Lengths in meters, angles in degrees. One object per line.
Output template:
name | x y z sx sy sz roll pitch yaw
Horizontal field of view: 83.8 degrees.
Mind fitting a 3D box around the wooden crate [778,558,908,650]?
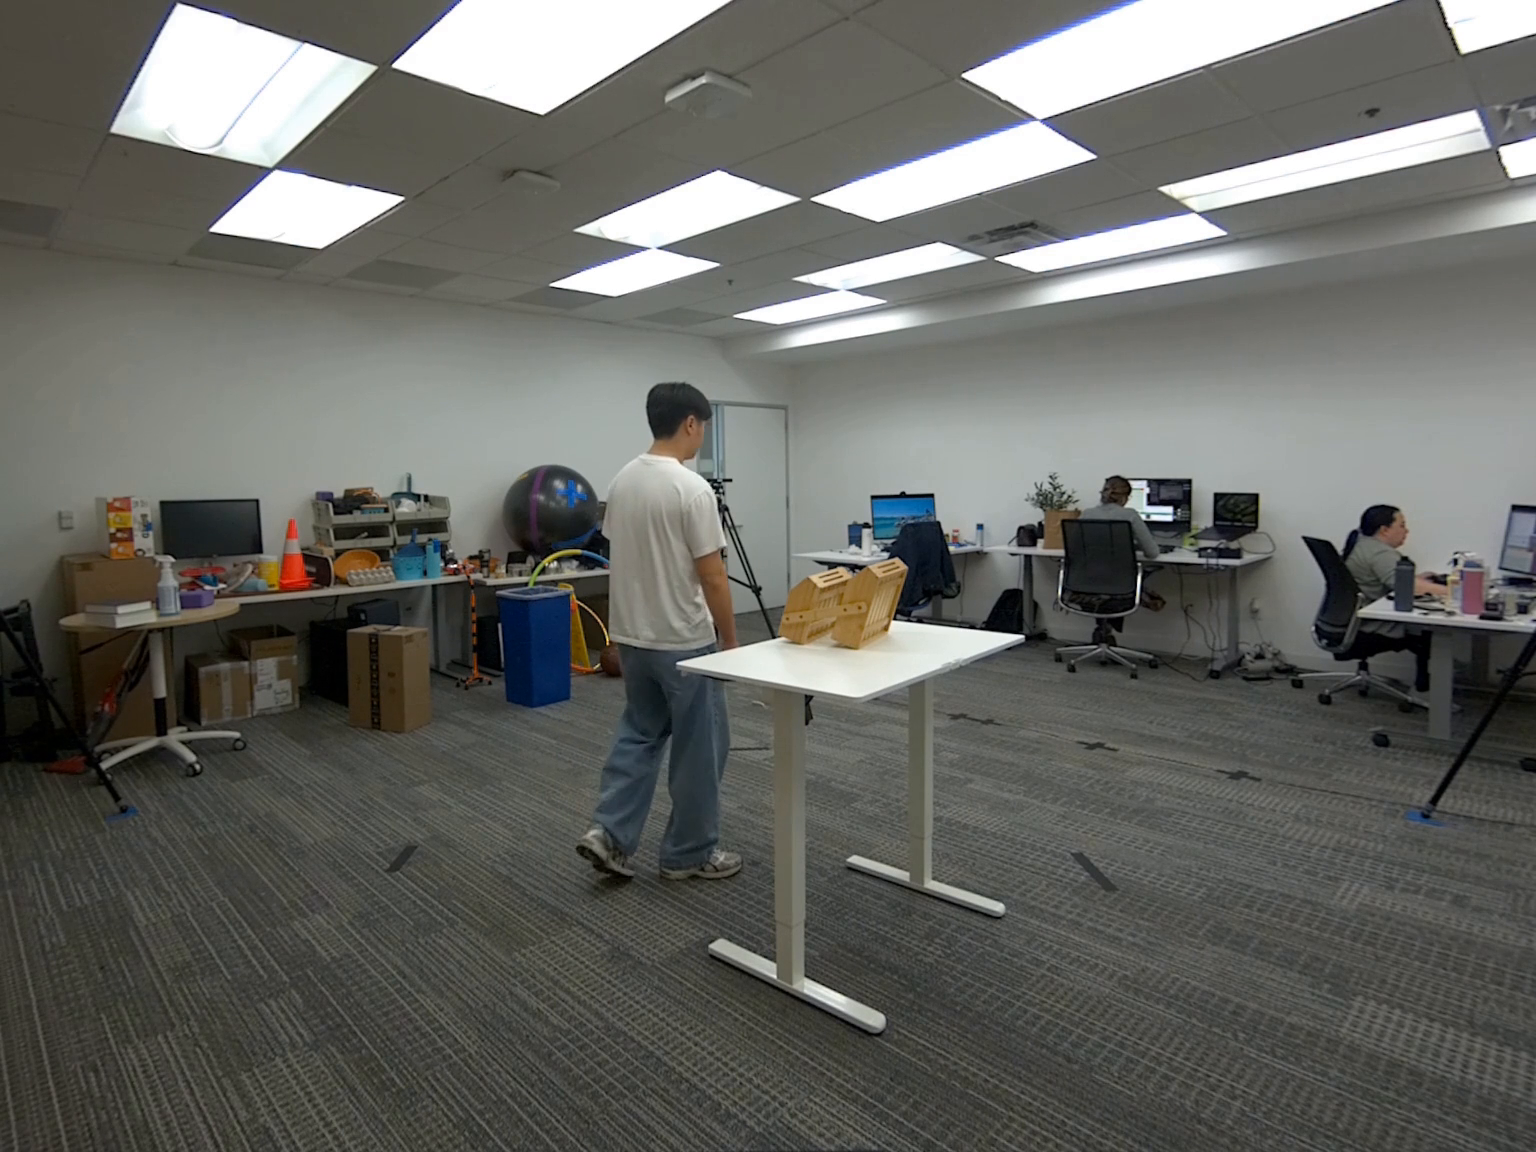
wooden crate | 0.247 0.068 2.711 0.281 0.300 0.318 20 13 23
